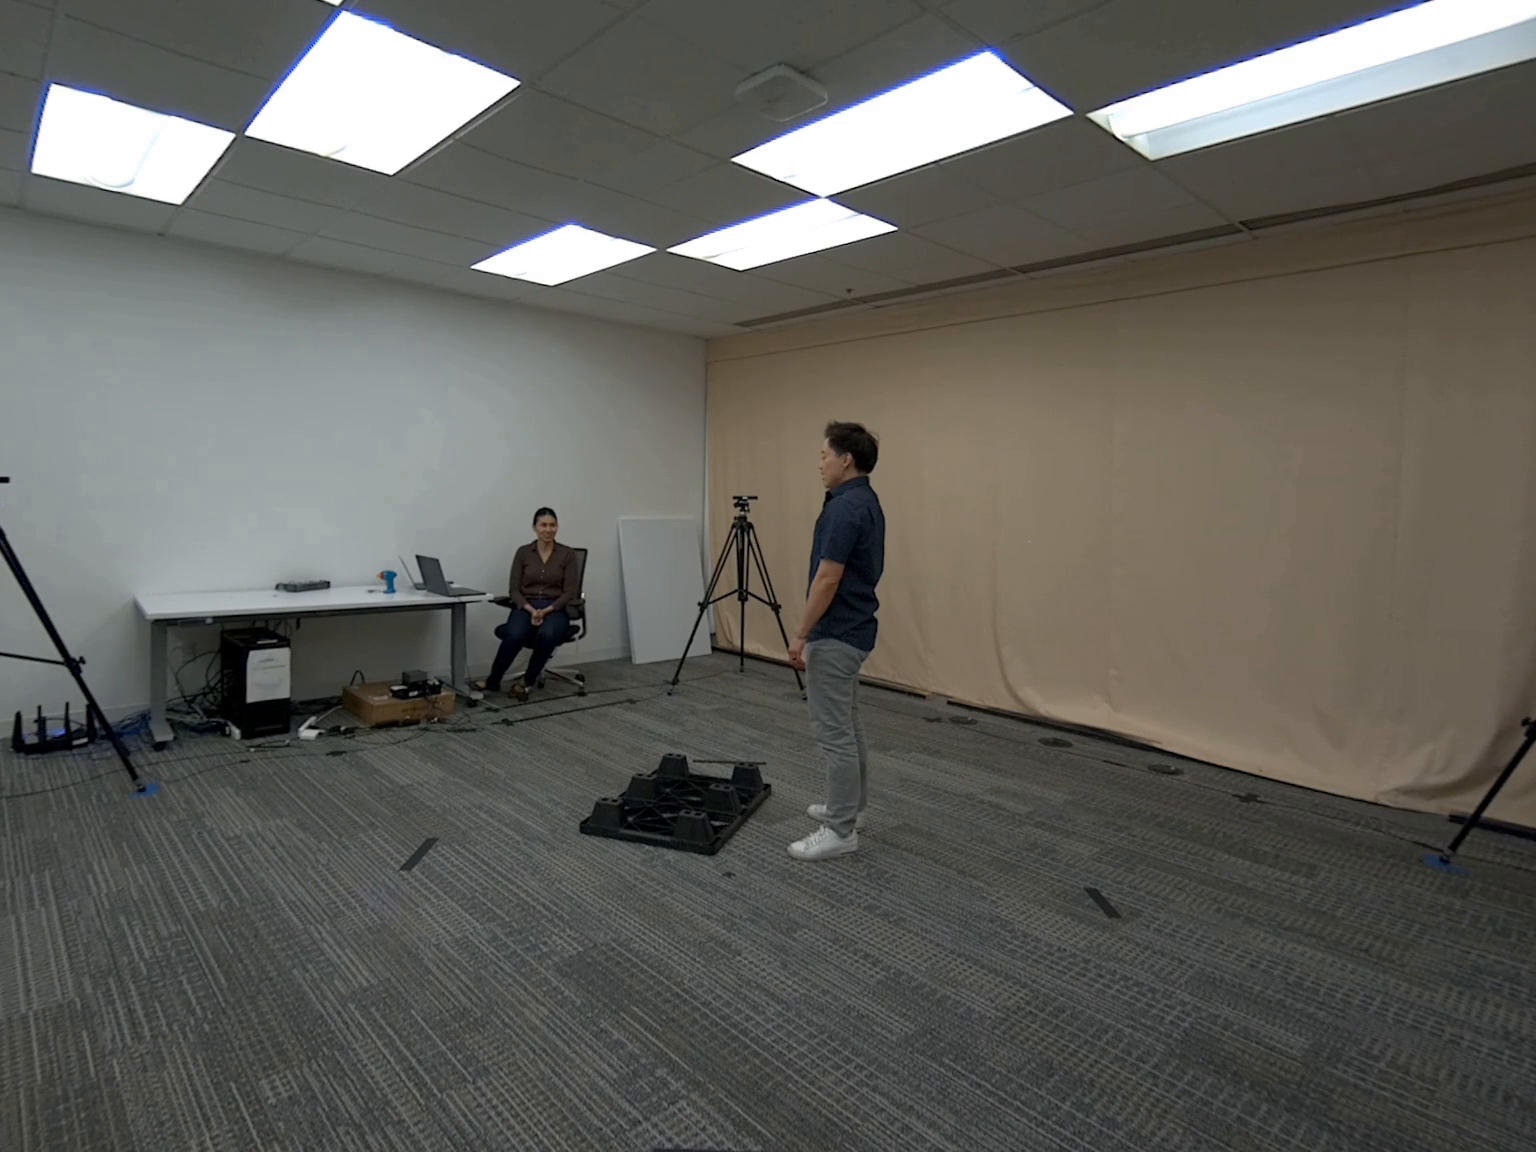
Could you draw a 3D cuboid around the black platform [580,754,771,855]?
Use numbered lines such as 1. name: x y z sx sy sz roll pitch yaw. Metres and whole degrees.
1. black platform: -0.390 0.976 3.732 0.614 0.143 0.796 4 5 17
